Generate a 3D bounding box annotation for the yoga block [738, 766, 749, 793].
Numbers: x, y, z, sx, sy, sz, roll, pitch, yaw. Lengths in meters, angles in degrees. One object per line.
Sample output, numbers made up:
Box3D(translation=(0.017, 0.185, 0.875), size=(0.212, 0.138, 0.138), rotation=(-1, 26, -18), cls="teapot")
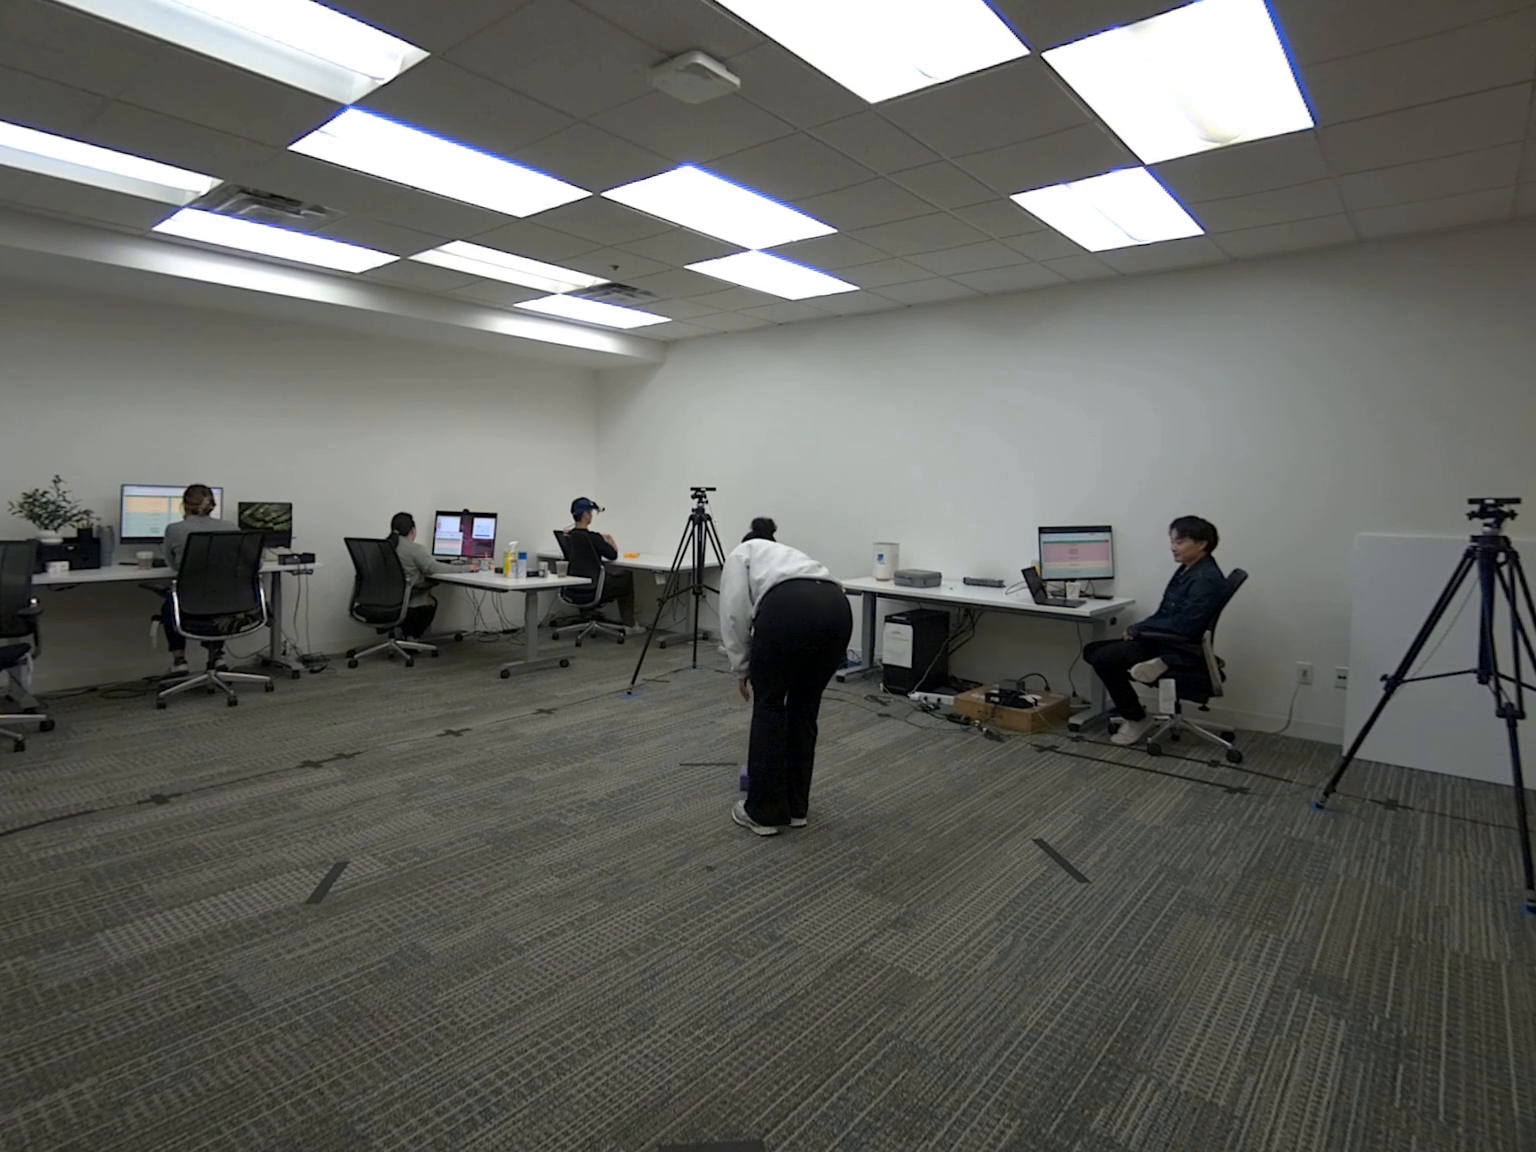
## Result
Box3D(translation=(-0.023, 0.939, 3.977), size=(0.231, 0.076, 0.149), rotation=(1, 6, 5), cls="yoga block")
